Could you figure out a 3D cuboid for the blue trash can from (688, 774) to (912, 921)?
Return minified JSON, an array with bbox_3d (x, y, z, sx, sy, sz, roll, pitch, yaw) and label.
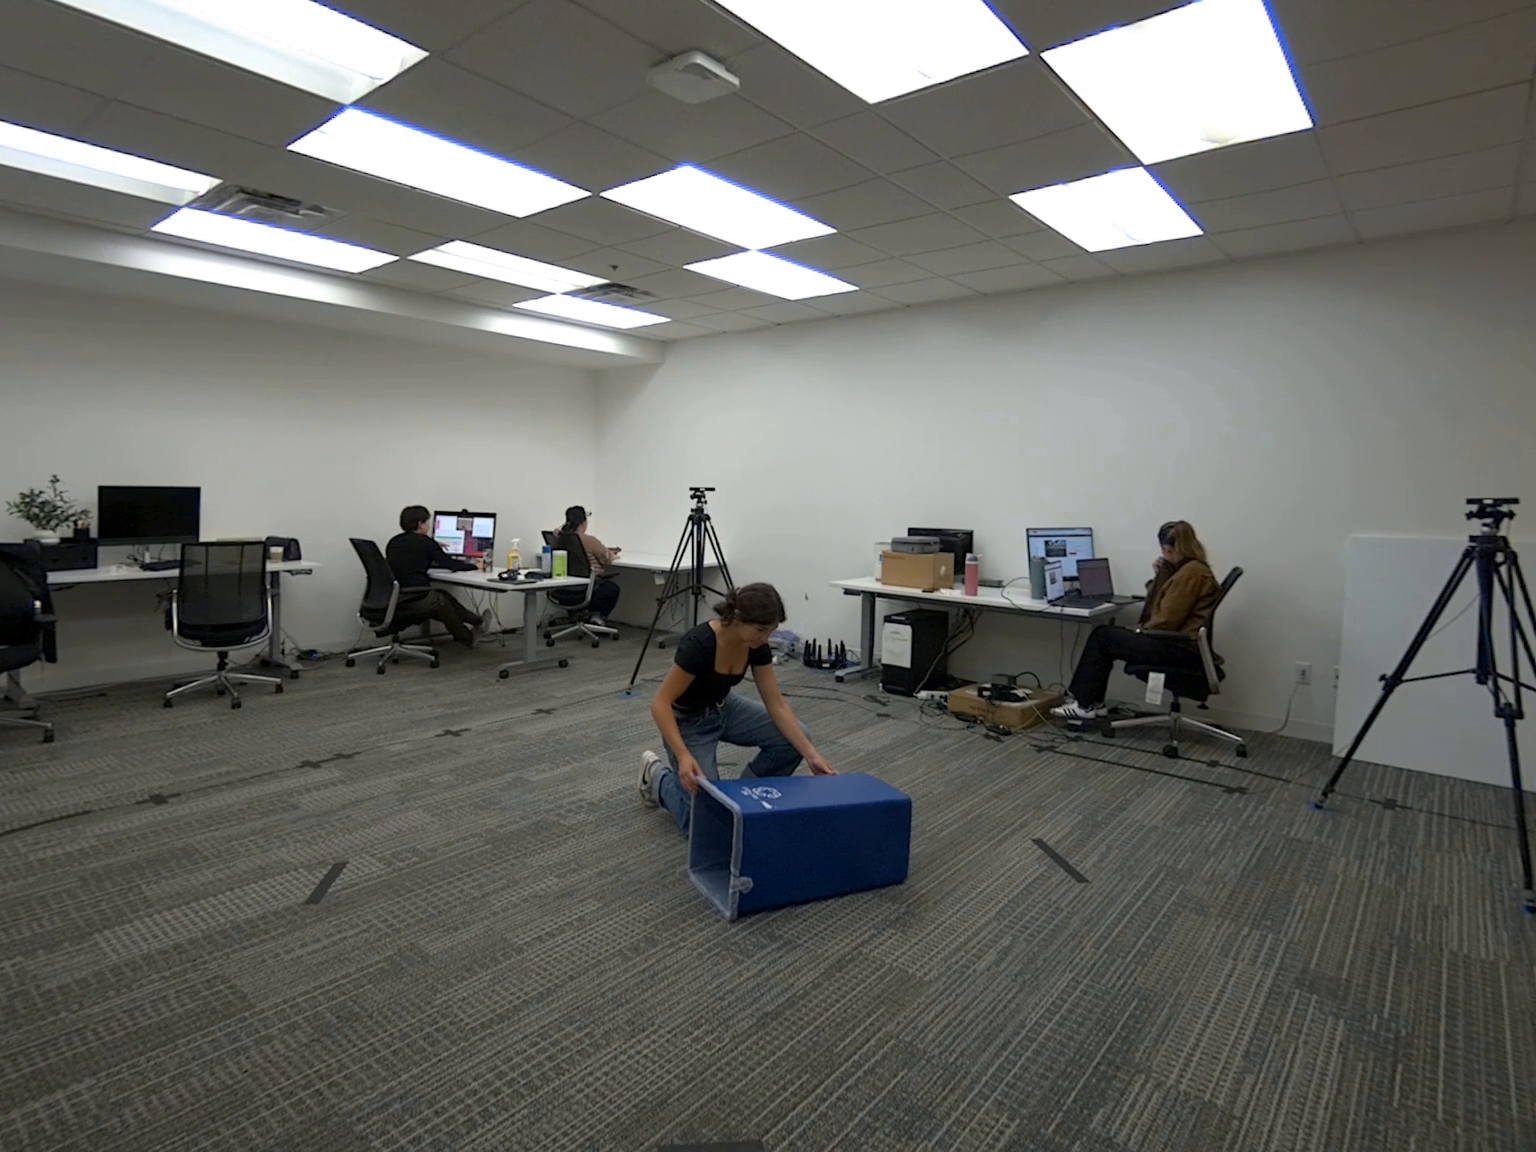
[{"bbox_3d":[0.110,0.915,3.015,0.695,0.377,0.384,2,3,-26],"label":"blue trash can"}]
